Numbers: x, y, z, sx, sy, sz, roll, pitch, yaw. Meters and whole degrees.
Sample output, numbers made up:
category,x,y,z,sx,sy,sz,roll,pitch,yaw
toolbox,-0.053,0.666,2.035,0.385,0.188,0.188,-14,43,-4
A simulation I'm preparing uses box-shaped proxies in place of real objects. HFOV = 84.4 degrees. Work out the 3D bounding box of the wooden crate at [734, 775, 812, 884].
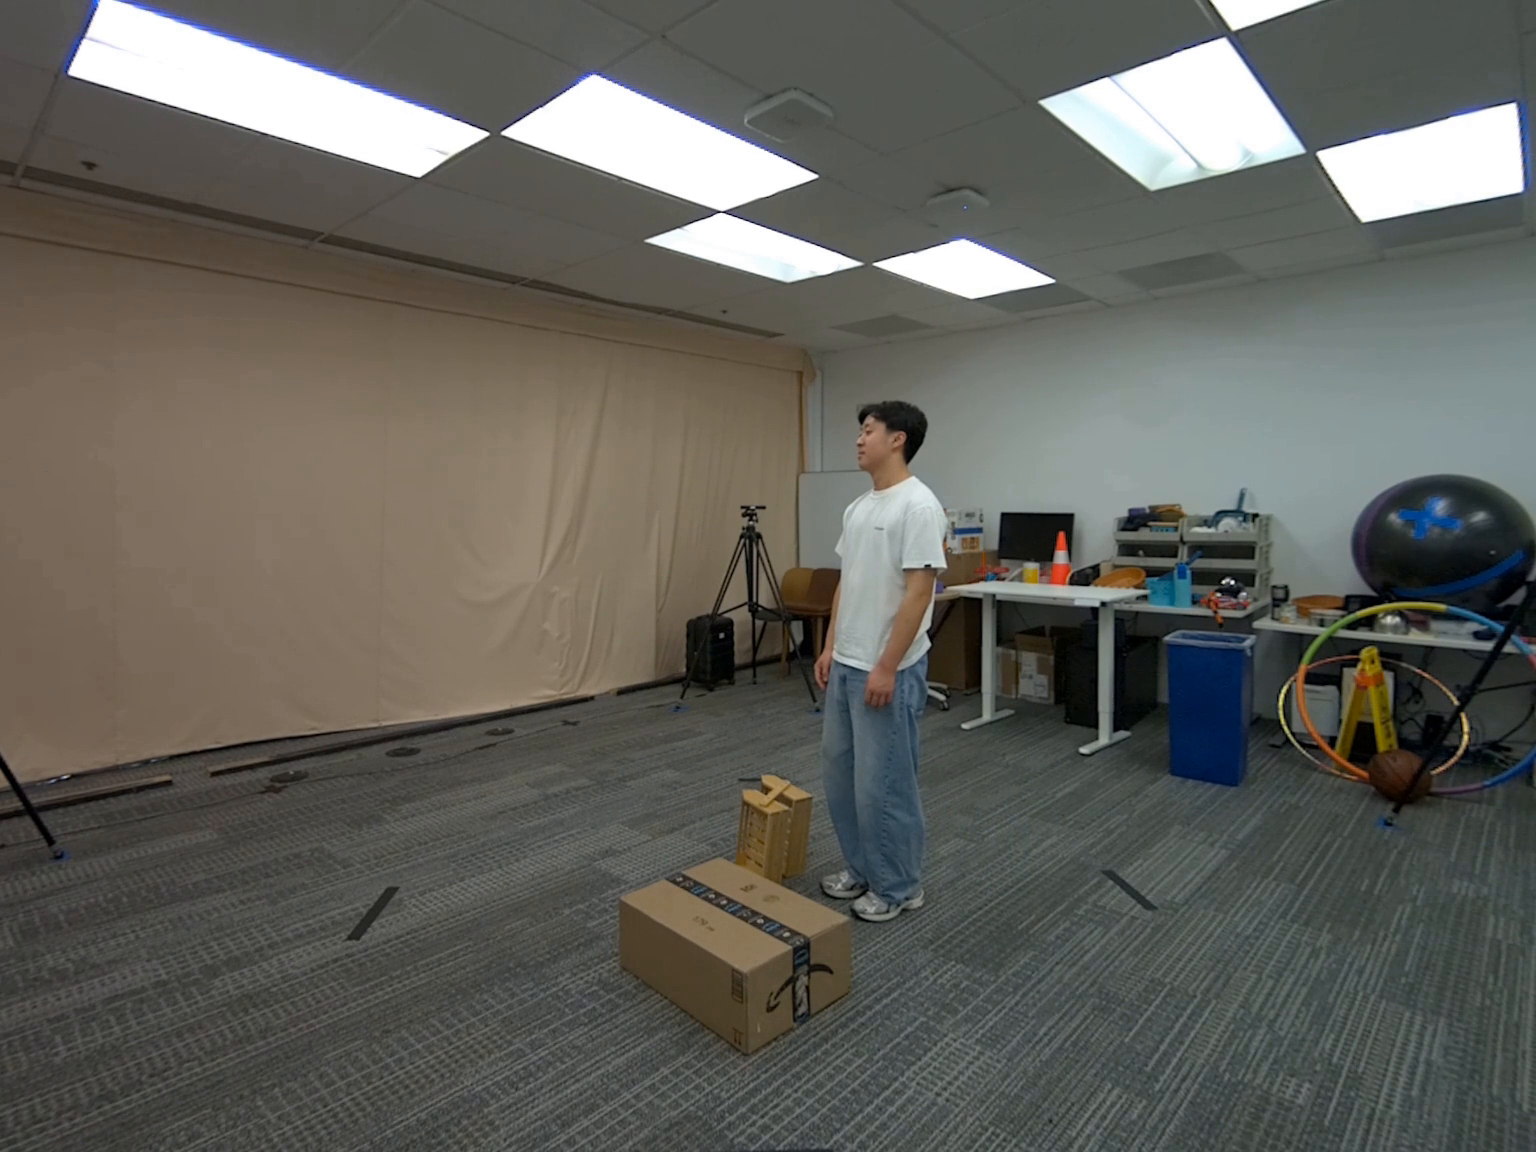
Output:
category,x,y,z,sx,sy,sz,roll,pitch,yaw
wooden crate,-0.006,0.961,3.174,0.264,0.323,0.312,2,7,-40
